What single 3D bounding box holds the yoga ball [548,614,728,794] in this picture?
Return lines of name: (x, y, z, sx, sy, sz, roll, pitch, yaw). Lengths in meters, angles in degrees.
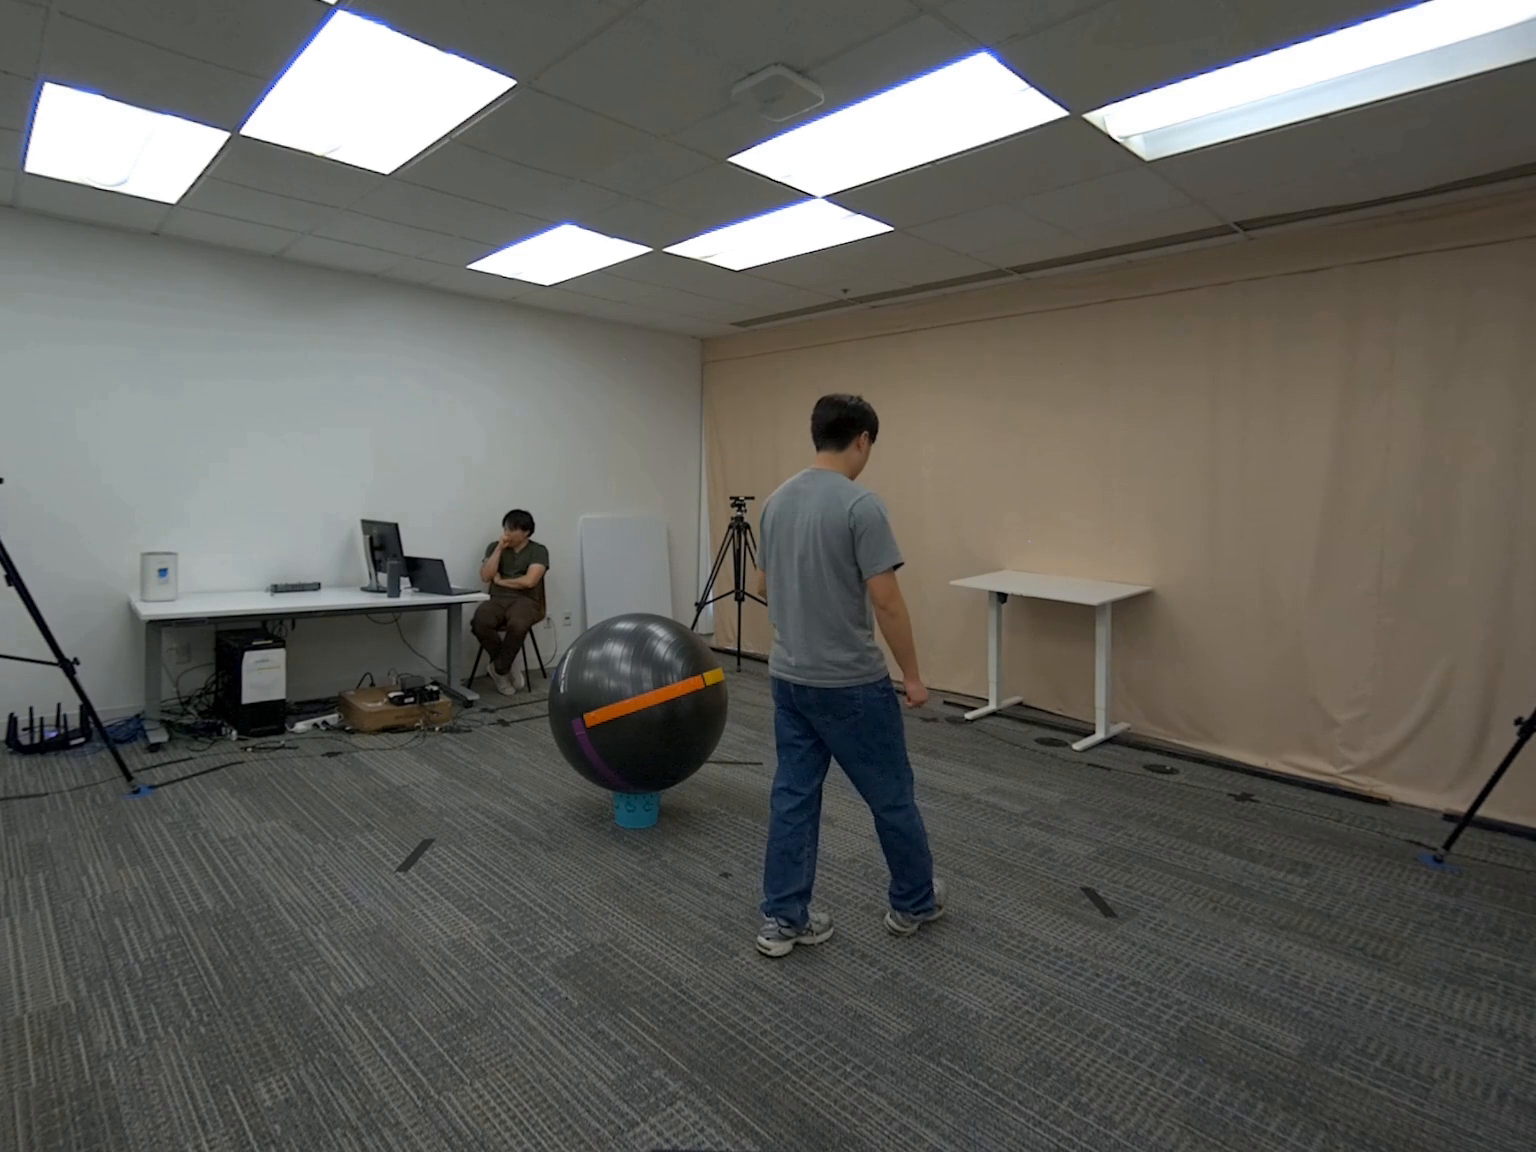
yoga ball: (-0.559, 0.539, 3.597, 0.757, 0.756, 0.761, 1, 4, -1)
